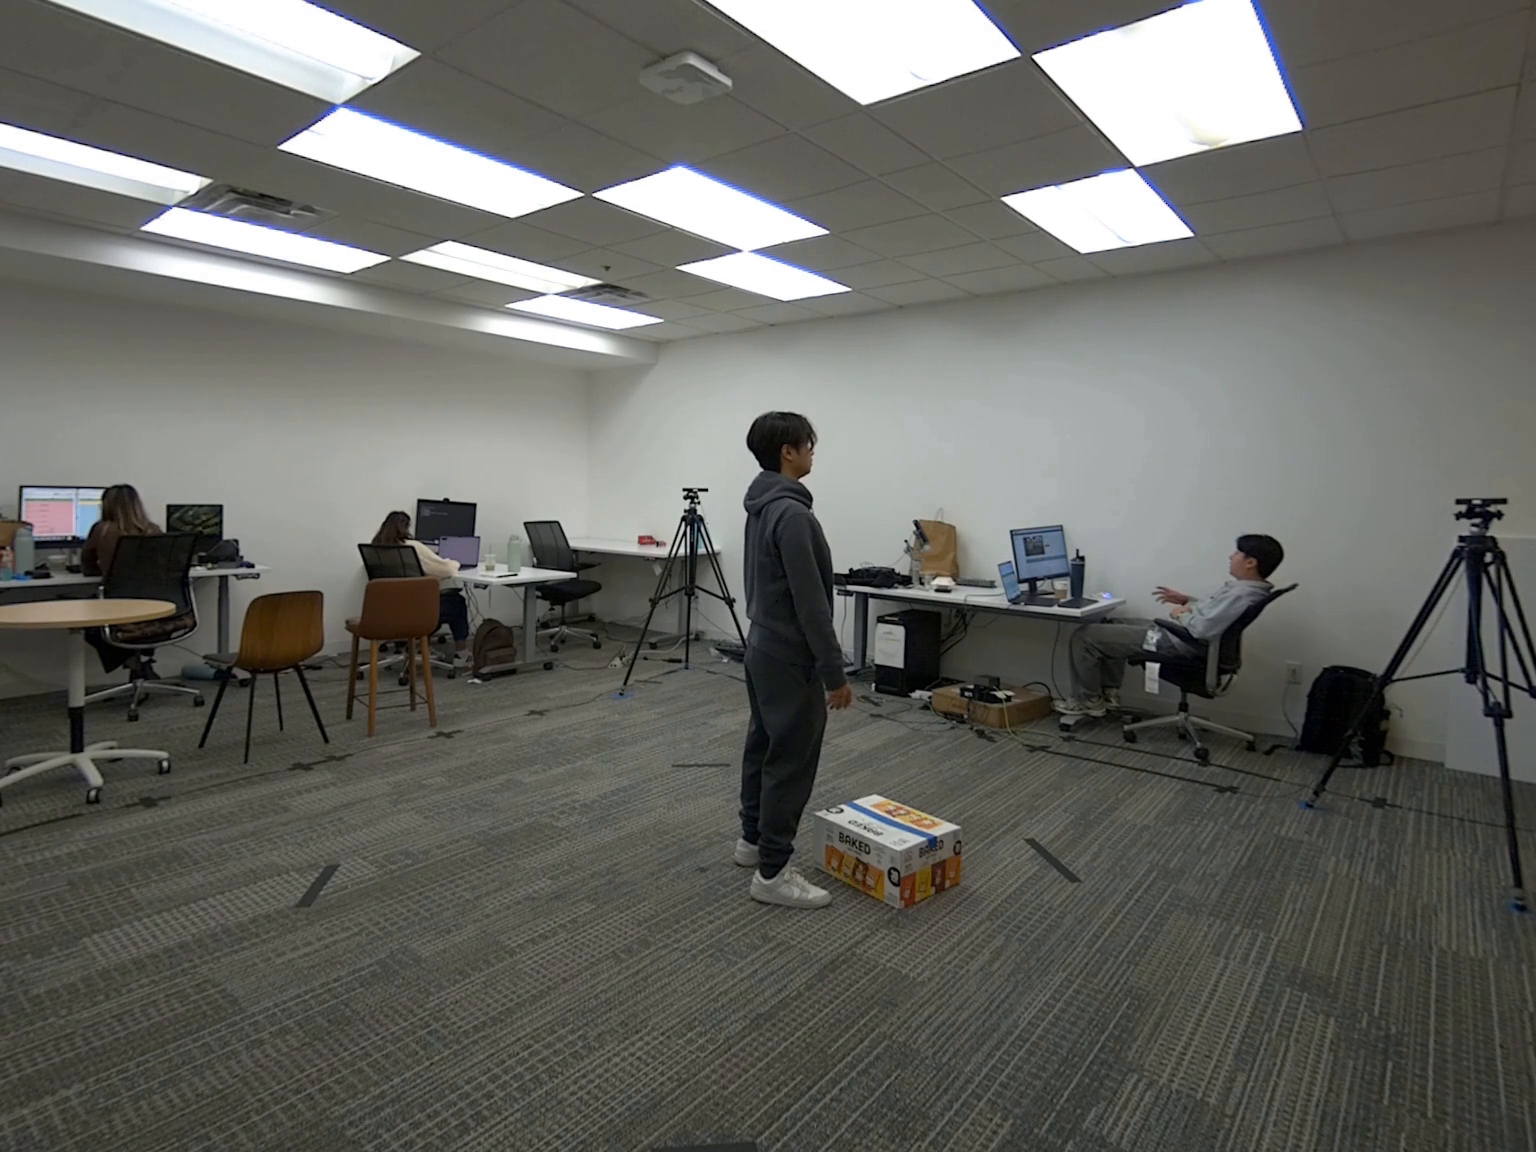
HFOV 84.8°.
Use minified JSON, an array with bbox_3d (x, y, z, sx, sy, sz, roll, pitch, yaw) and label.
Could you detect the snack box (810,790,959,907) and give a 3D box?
[{"bbox_3d":[0.420,0.980,3.086,0.330,0.205,0.419,-3,6,-41],"label":"snack box"}]
